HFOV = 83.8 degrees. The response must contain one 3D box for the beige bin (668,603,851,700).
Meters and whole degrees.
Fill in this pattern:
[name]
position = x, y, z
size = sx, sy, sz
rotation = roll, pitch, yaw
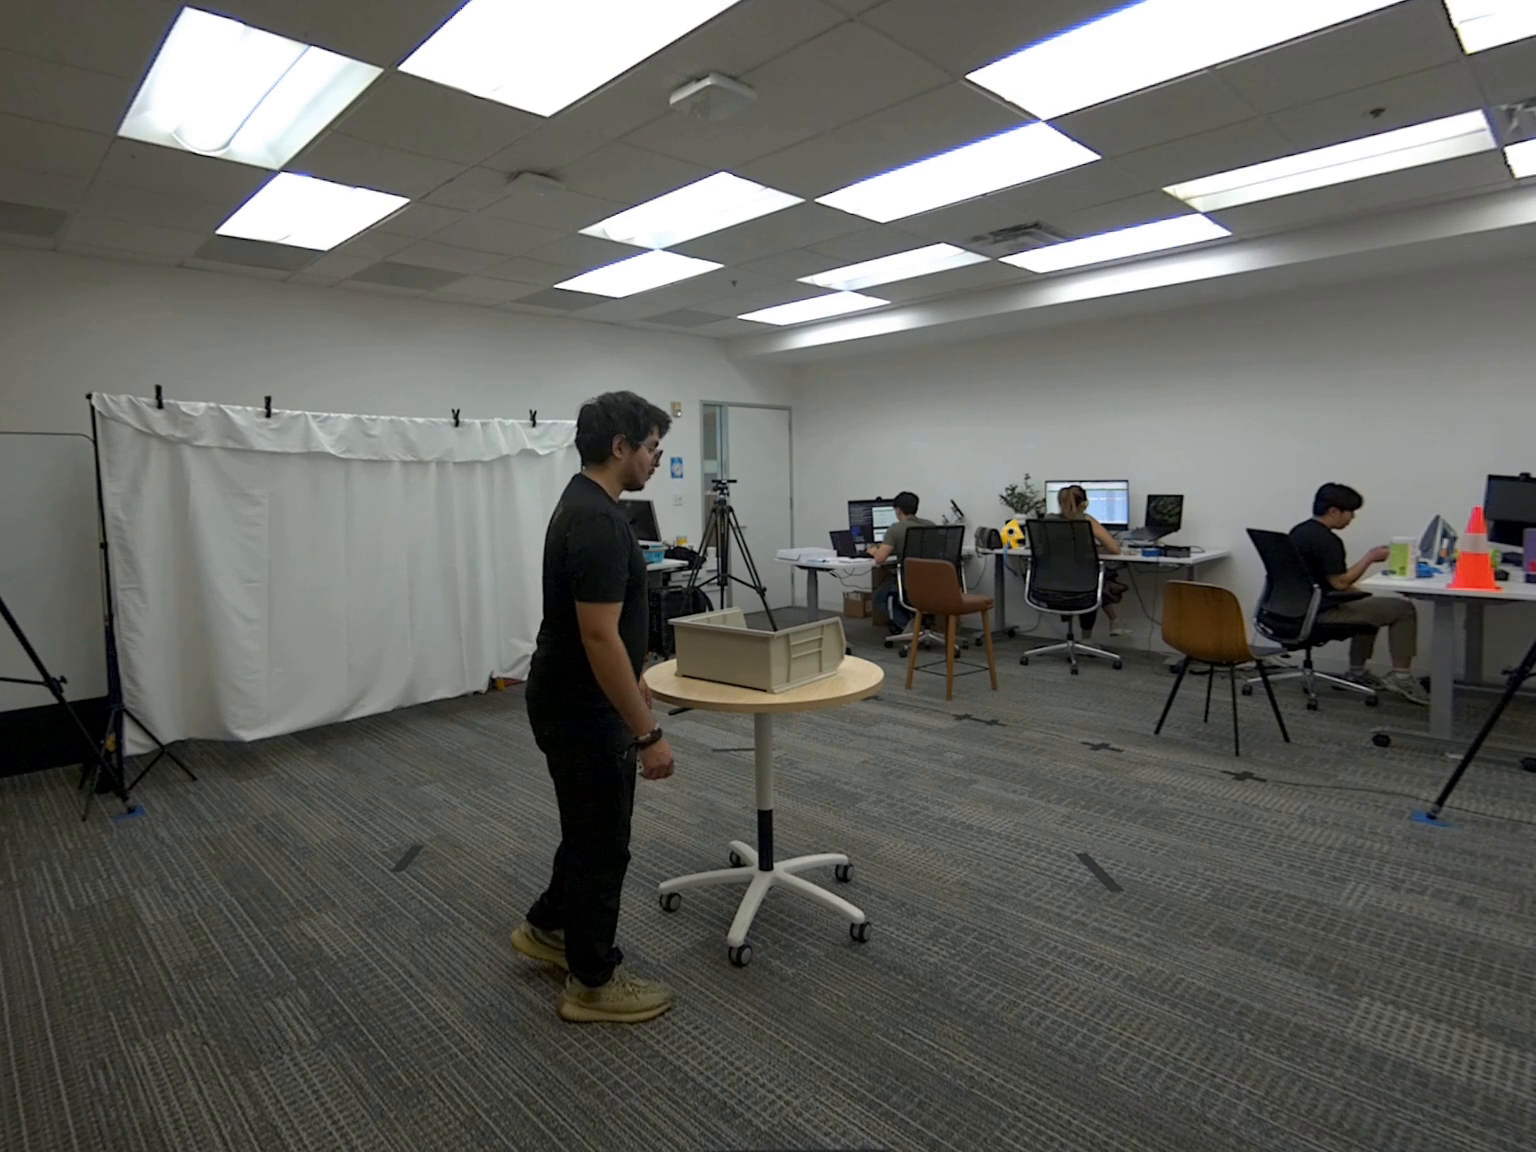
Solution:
[beige bin]
position = -0.028, 0.223, 2.706
size = 0.435, 0.188, 0.368
rotation = 3, 9, 40
